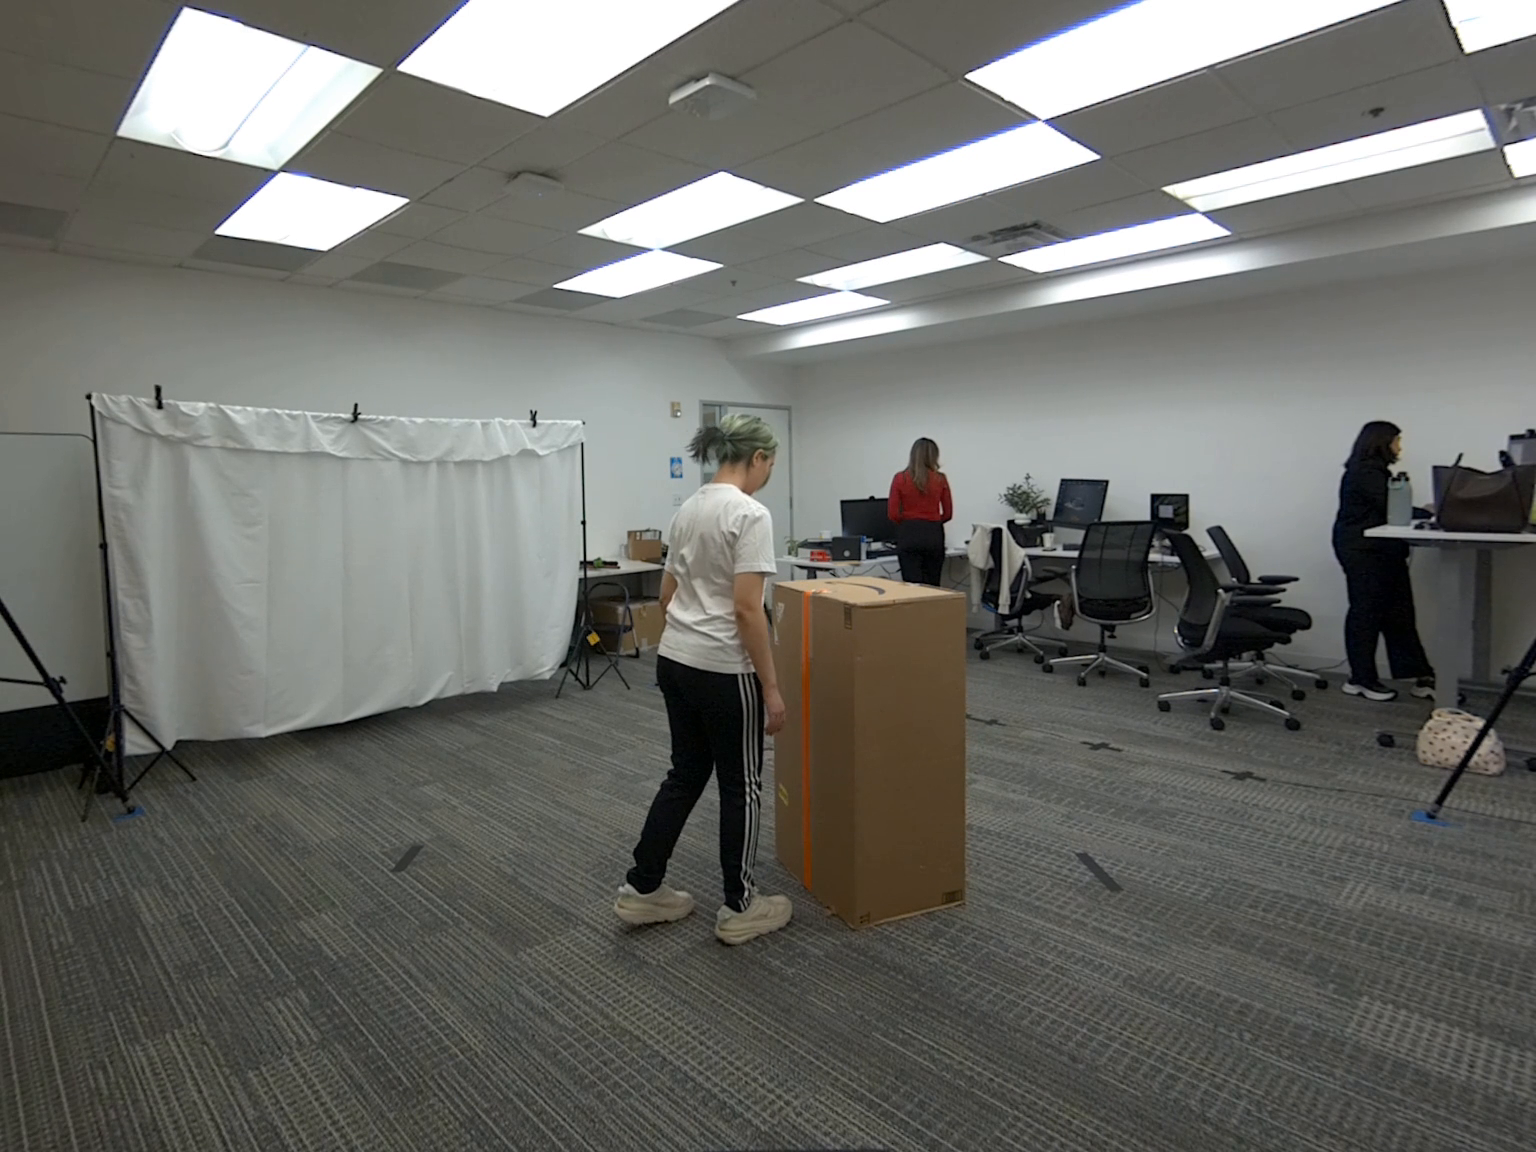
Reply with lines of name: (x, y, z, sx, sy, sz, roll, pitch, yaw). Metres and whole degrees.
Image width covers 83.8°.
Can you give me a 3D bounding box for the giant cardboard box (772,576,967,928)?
giant cardboard box: (0.331, 0.548, 2.942, 0.418, 1.022, 0.591, -2, 5, -24)
